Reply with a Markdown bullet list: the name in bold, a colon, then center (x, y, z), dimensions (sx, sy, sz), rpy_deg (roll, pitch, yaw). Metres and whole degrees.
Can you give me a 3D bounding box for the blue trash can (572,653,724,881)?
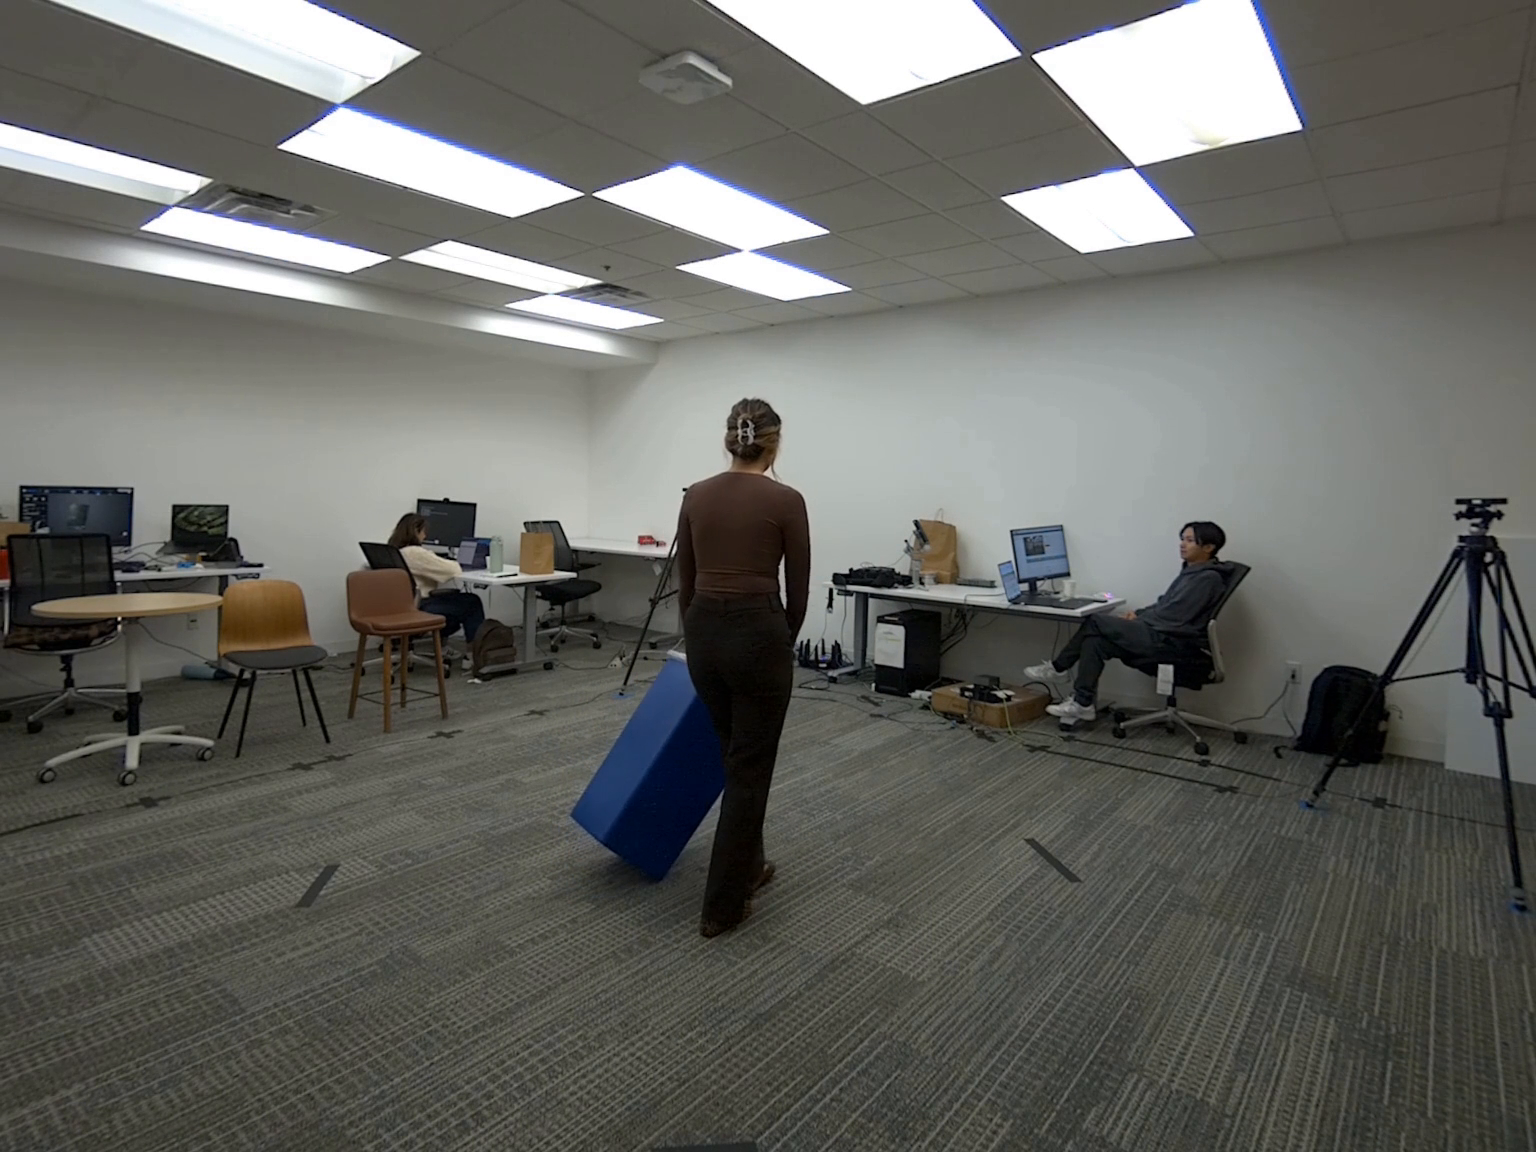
- **blue trash can**: center (-0.382, 0.690, 3.159), dimensions (0.365, 0.715, 0.386), rpy_deg (44, -20, -28)
